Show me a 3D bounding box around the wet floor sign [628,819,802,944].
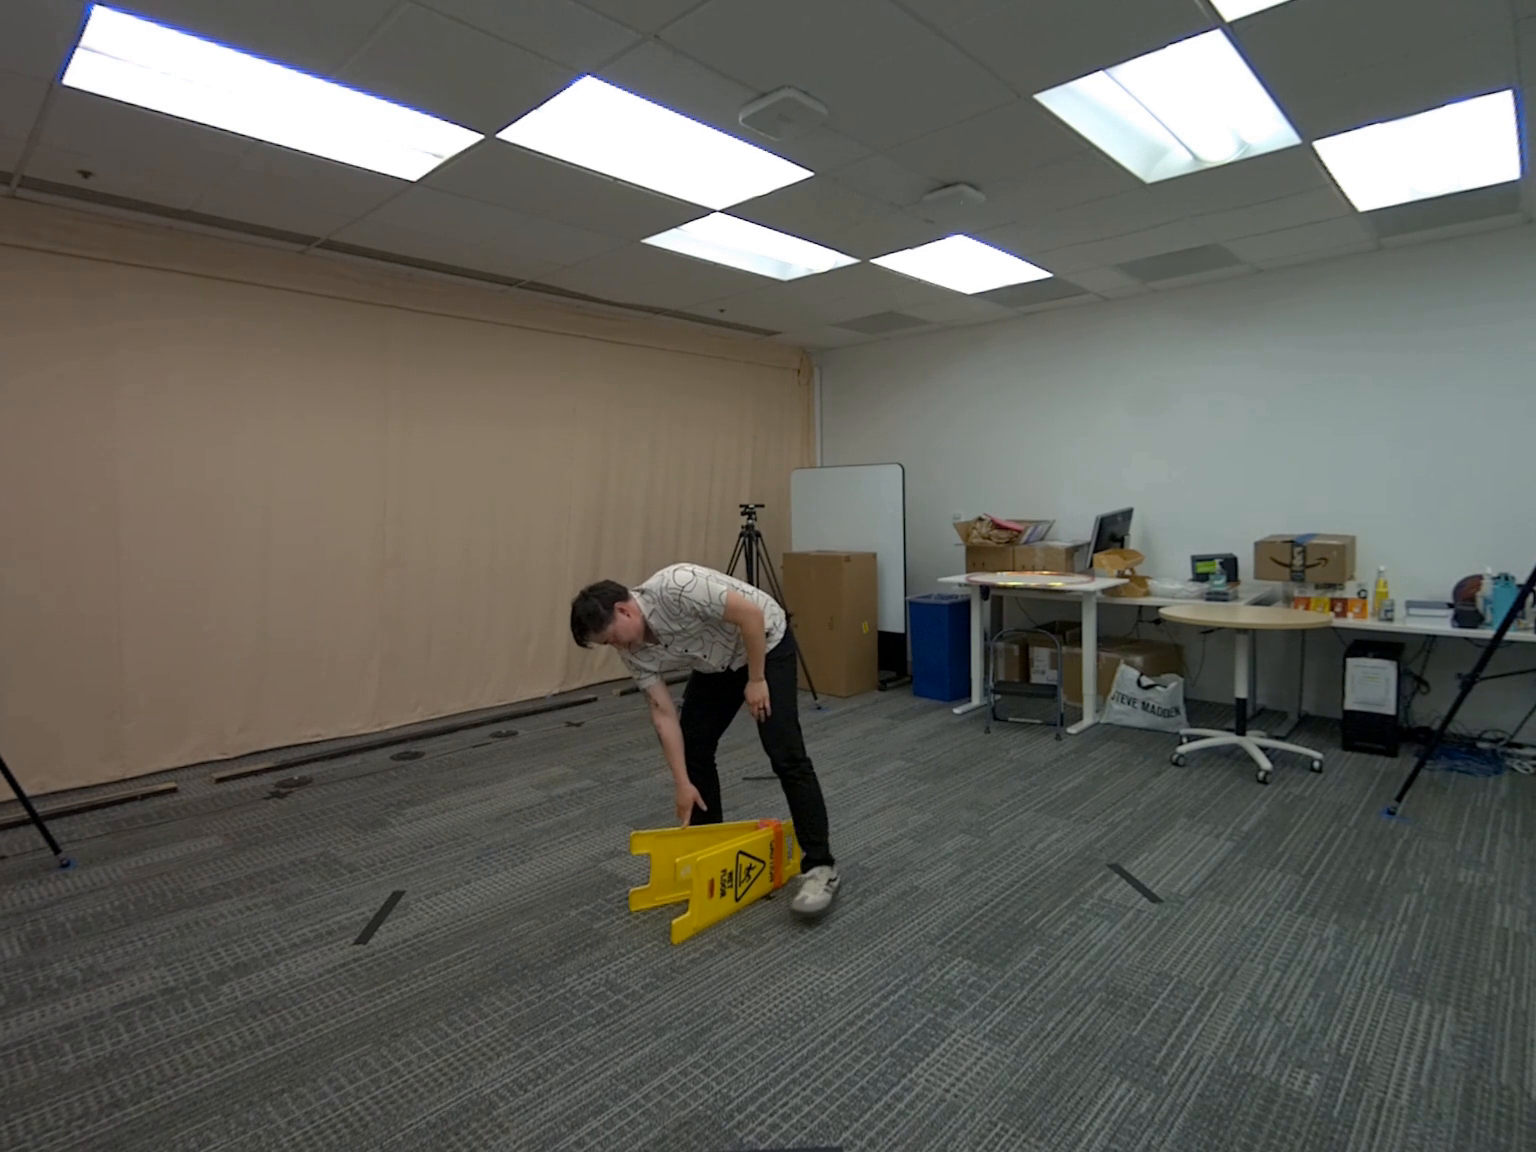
[{"bbox_3d":[-0.136,1.016,2.961,0.627,0.281,0.299,-2,5,-36],"label":"wet floor sign"}]
